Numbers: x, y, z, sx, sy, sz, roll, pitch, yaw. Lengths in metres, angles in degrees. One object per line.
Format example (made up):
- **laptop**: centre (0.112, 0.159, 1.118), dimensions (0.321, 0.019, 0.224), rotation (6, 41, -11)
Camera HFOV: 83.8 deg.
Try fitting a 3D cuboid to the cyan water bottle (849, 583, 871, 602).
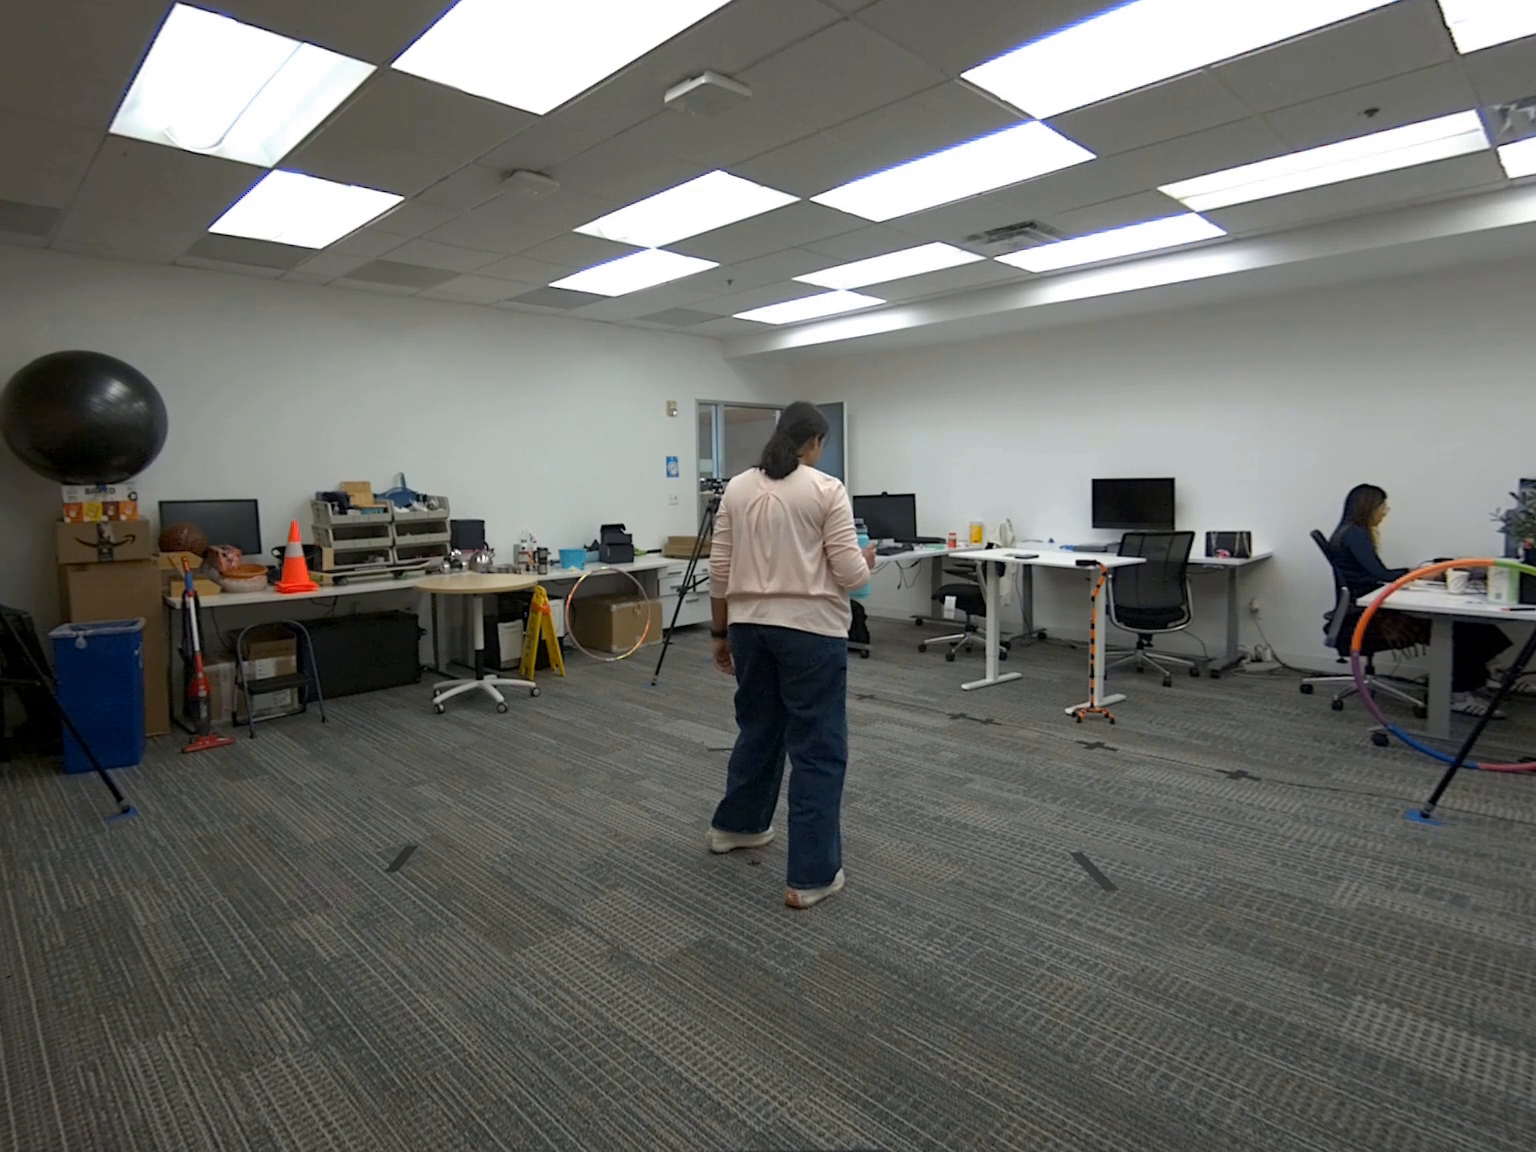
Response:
- **cyan water bottle**: centre (0.326, -0.066, 3.112), dimensions (0.092, 0.283, 0.092), rotation (1, 0, -2)
